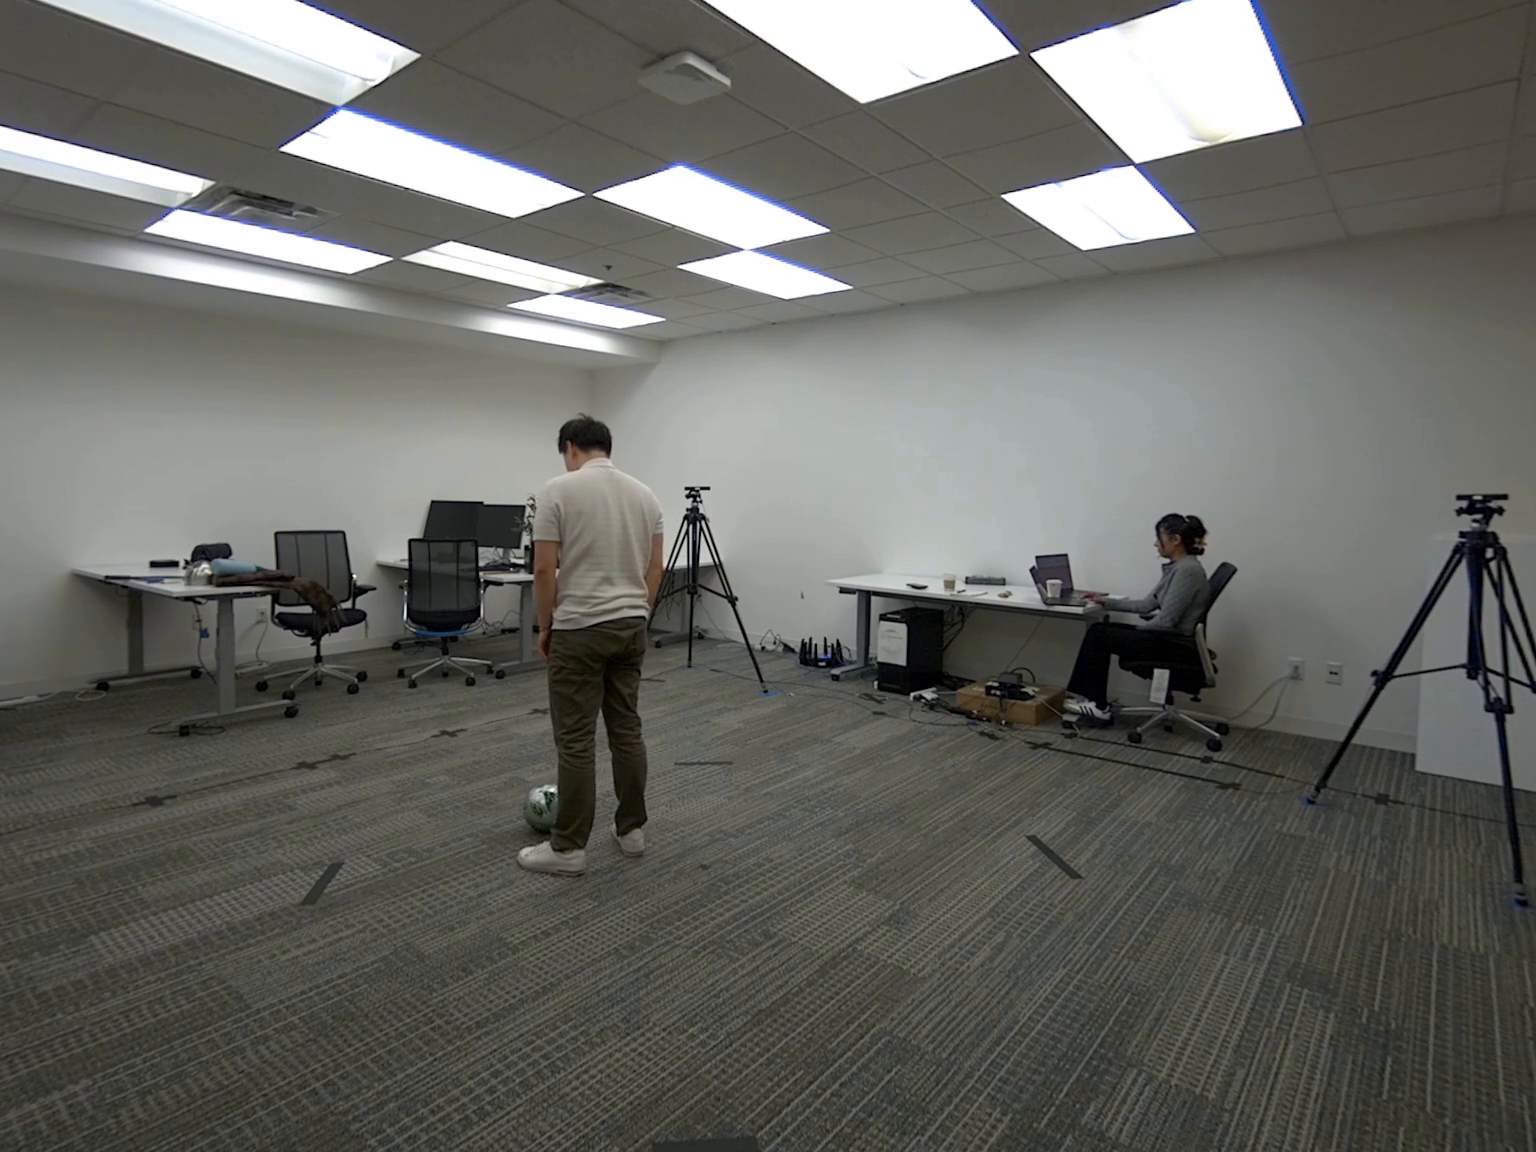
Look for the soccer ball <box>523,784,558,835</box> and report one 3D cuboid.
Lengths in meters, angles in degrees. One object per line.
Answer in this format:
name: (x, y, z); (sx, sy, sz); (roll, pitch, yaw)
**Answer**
soccer ball: (-0.906, 0.931, 3.429); (0.187, 0.187, 0.188); (1, 4, -2)
